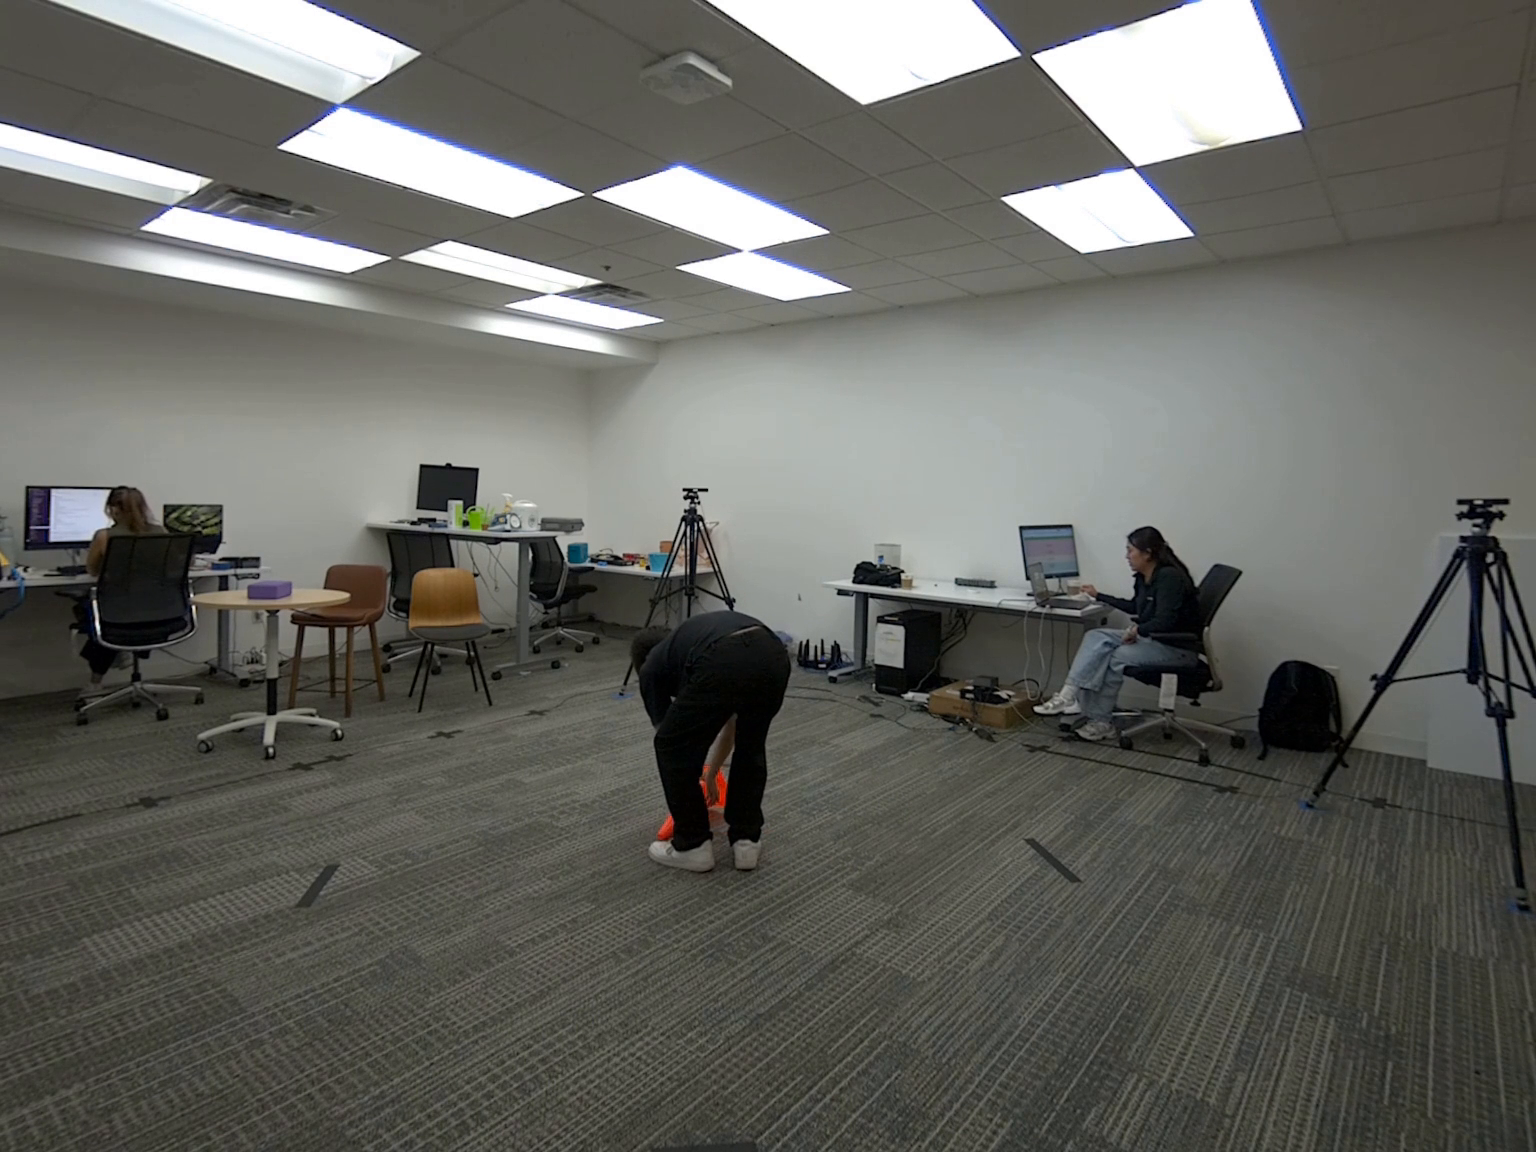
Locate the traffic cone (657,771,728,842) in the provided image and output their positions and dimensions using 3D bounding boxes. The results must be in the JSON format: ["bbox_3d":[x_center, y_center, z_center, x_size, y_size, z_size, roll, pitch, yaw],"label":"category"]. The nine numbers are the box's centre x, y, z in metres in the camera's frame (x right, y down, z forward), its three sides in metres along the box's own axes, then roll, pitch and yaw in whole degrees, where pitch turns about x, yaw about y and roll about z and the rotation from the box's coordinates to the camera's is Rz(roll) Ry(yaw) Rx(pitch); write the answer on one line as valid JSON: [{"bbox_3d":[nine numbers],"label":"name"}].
[{"bbox_3d":[-0.347,0.968,3.509,0.208,0.202,0.380,-14,13,35],"label":"traffic cone"}]
